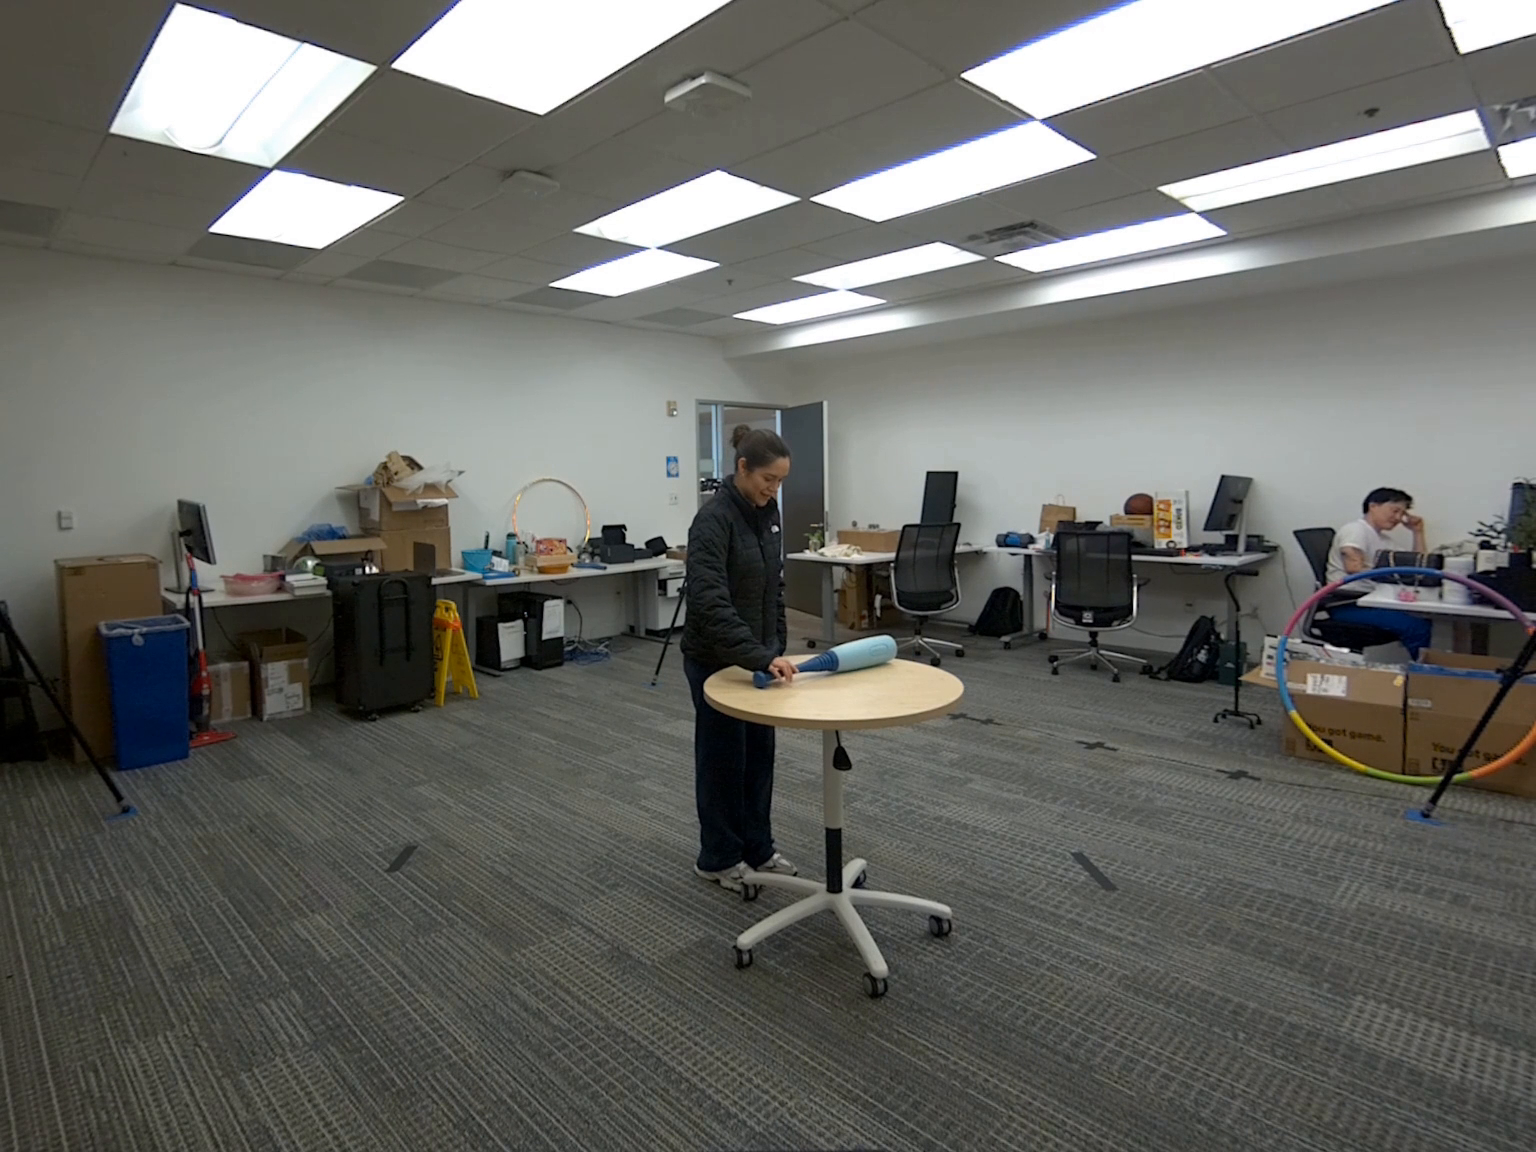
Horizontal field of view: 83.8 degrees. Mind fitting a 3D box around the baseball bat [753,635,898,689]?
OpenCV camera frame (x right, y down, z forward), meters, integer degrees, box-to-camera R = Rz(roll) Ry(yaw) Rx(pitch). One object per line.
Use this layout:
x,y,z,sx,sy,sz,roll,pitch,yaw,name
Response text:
0.184,0.268,2.670,0.531,0.088,0.091,-10,9,-34,baseball bat
